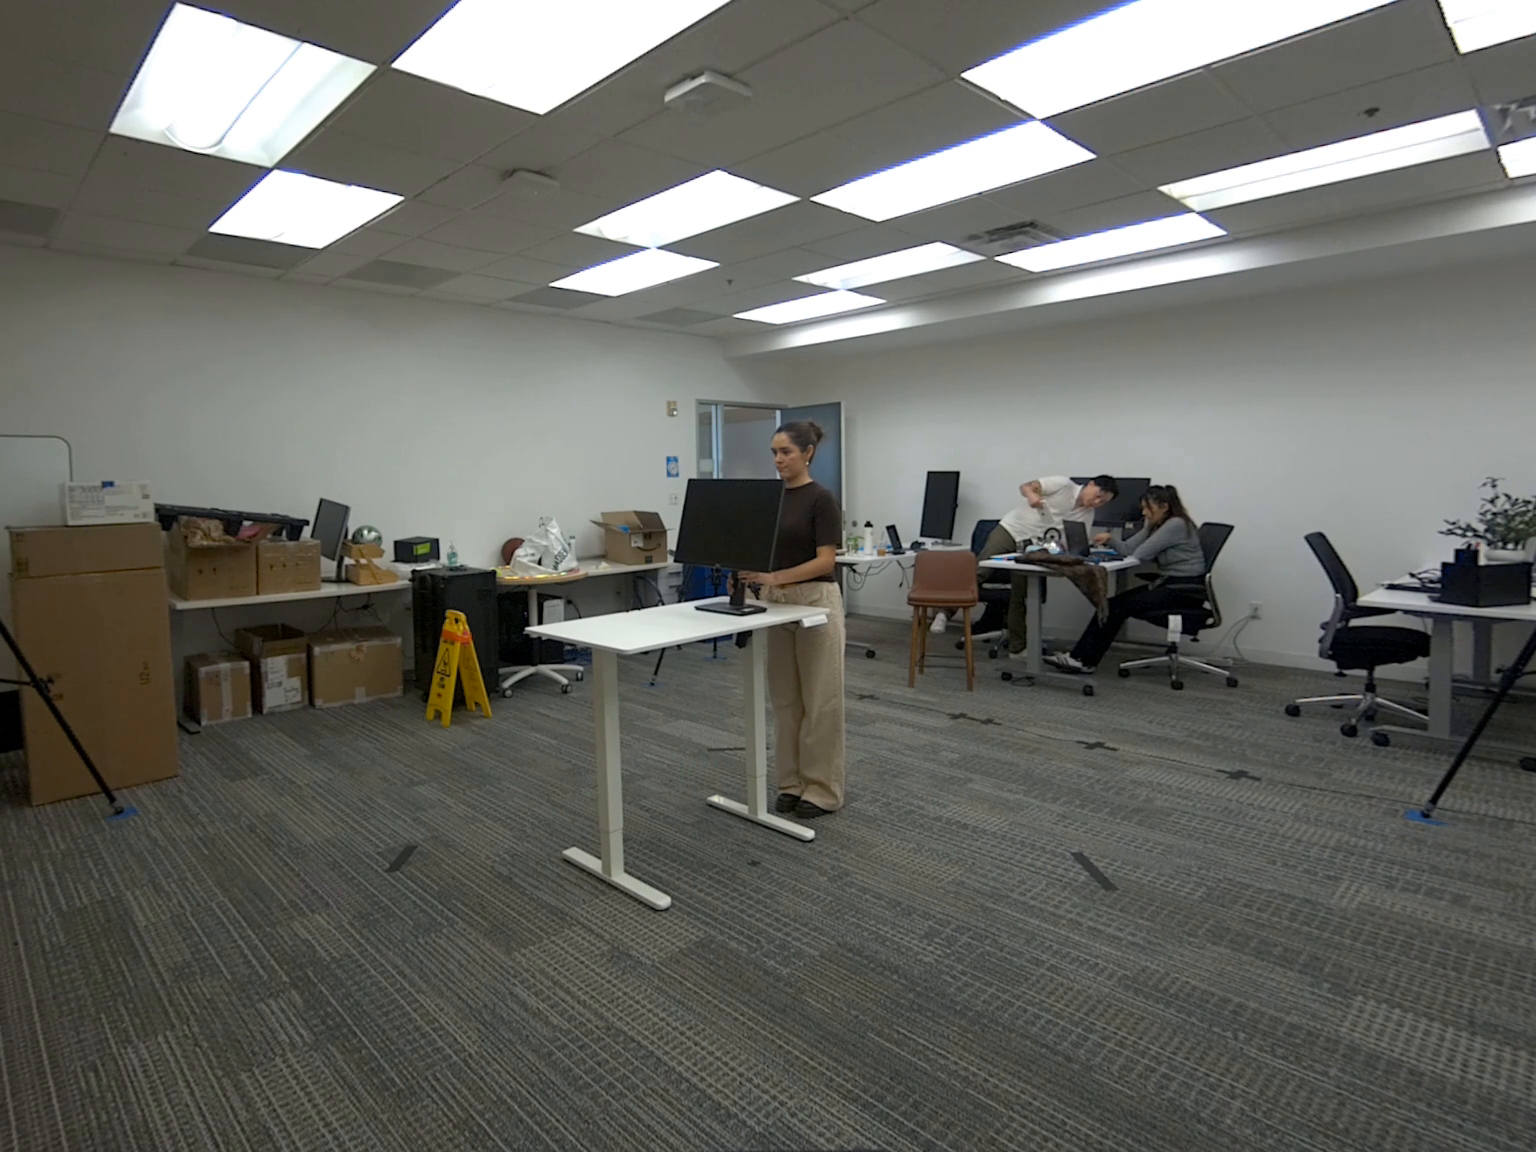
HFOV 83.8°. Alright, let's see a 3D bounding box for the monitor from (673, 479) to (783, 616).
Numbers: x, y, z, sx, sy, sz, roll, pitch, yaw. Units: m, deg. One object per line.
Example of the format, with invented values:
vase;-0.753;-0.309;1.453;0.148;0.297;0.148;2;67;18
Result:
monitor;-0.144;-0.121;3.336;0.547;0.512;0.170;6;11;44
